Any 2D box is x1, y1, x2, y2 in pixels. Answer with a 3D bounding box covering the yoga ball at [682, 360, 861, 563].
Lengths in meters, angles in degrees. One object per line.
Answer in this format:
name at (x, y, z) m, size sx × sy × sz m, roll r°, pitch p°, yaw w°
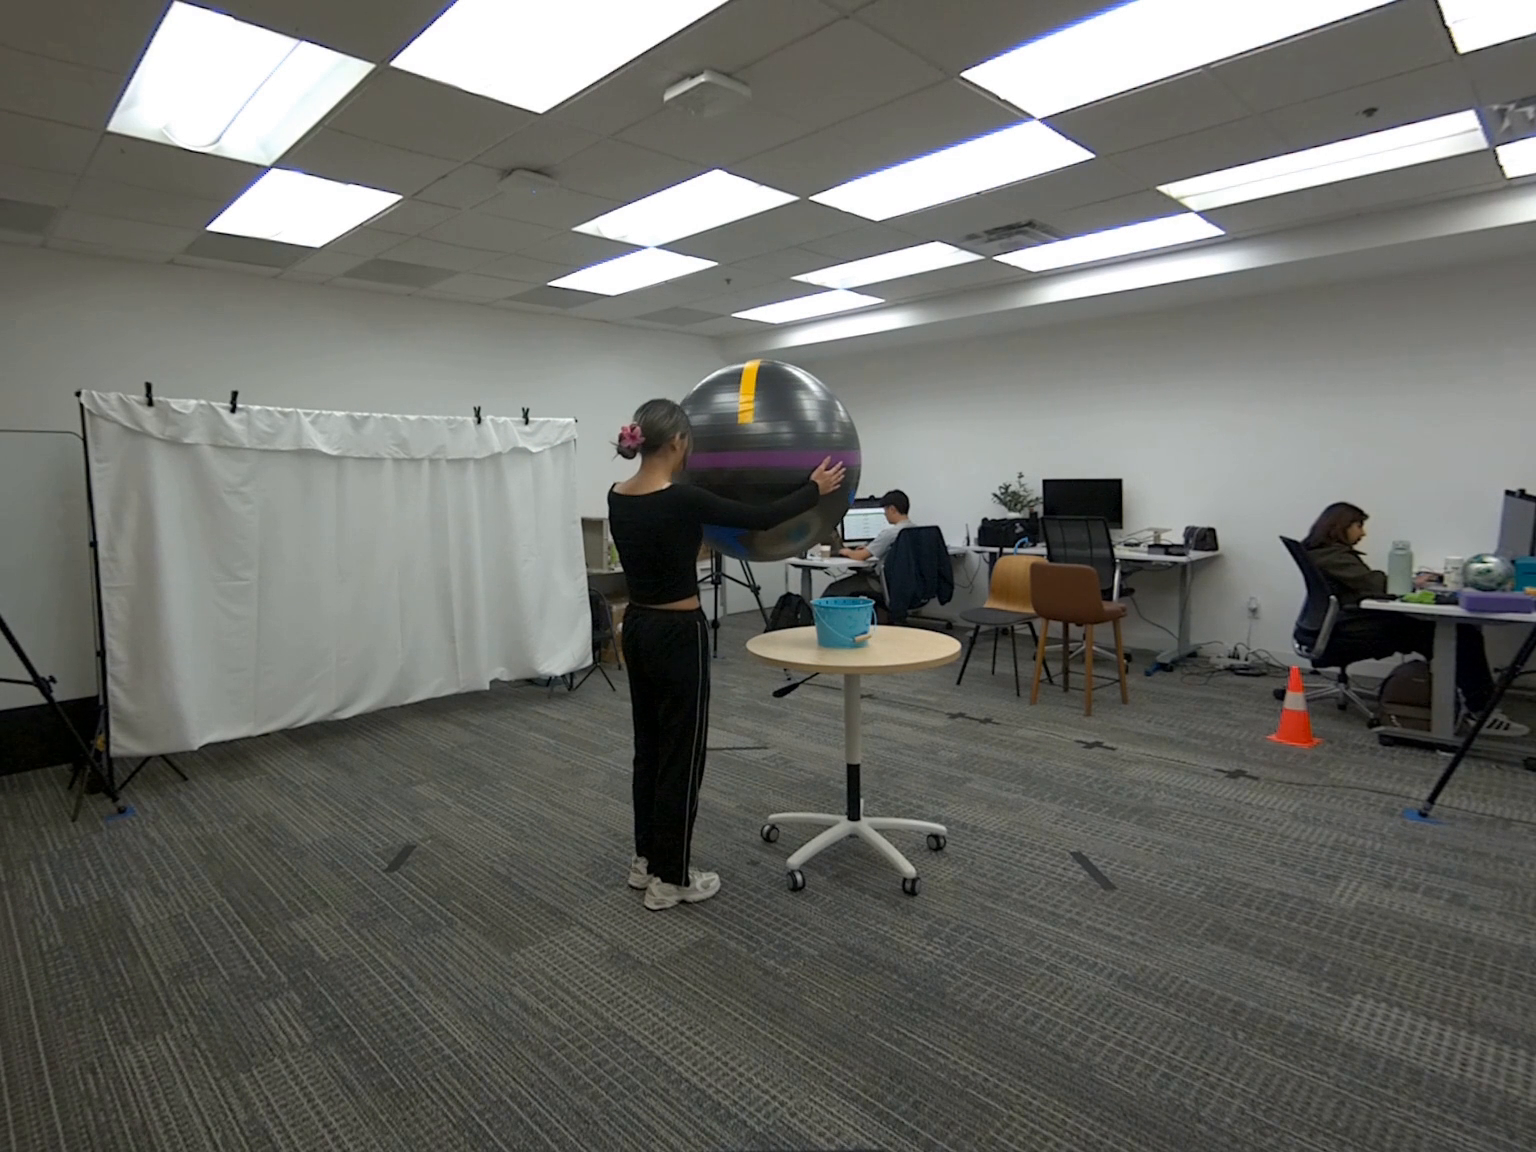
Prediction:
yoga ball at (-0.021, -0.433, 3.262) m, size 0.757 × 0.755 × 0.762 m, roll -1°, pitch 5°, yaw -2°
